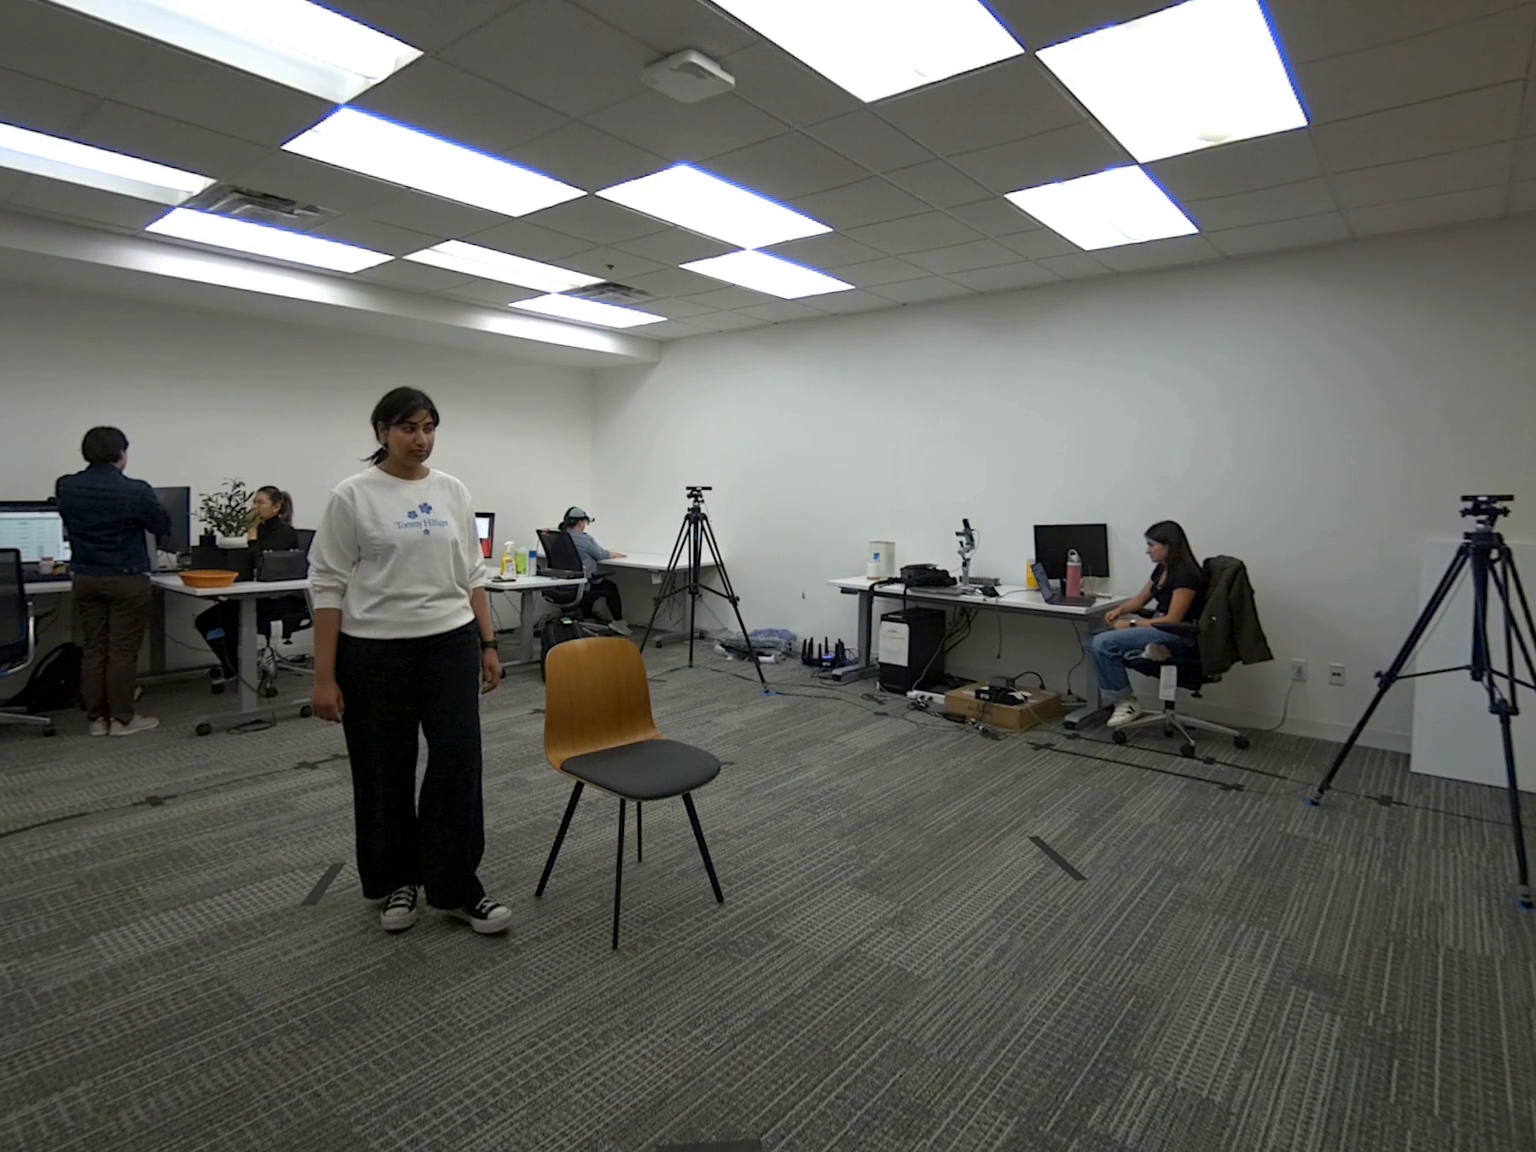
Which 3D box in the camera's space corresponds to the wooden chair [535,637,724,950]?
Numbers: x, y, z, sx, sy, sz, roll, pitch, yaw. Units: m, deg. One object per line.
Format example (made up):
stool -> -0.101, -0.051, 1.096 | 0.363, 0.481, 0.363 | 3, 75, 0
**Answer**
wooden chair -> -0.450, 0.663, 2.828 | 0.539, 0.878, 0.463 | -2, 0, 45
